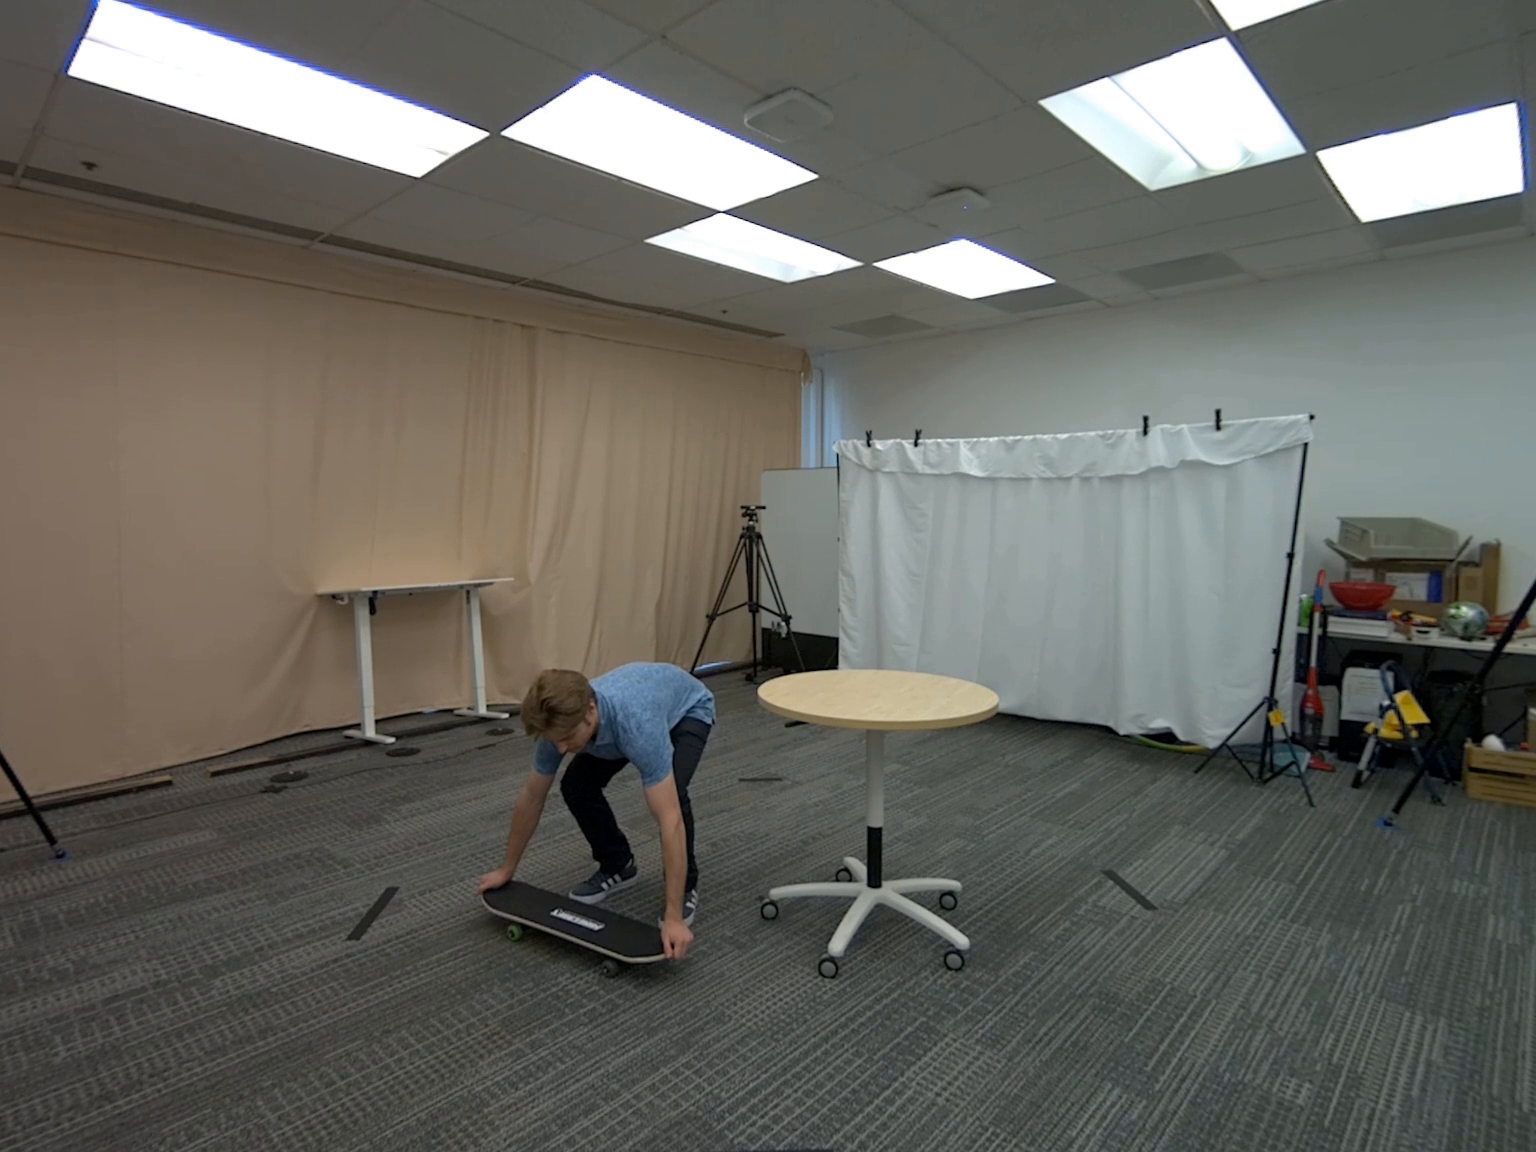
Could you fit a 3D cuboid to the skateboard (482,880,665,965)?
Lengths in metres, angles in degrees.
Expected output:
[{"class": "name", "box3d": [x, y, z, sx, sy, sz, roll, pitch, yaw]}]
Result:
[{"class": "skateboard", "box3d": [-0.598, 1.123, 2.666, 0.808, 0.110, 0.188, 2, 5, 31]}]
